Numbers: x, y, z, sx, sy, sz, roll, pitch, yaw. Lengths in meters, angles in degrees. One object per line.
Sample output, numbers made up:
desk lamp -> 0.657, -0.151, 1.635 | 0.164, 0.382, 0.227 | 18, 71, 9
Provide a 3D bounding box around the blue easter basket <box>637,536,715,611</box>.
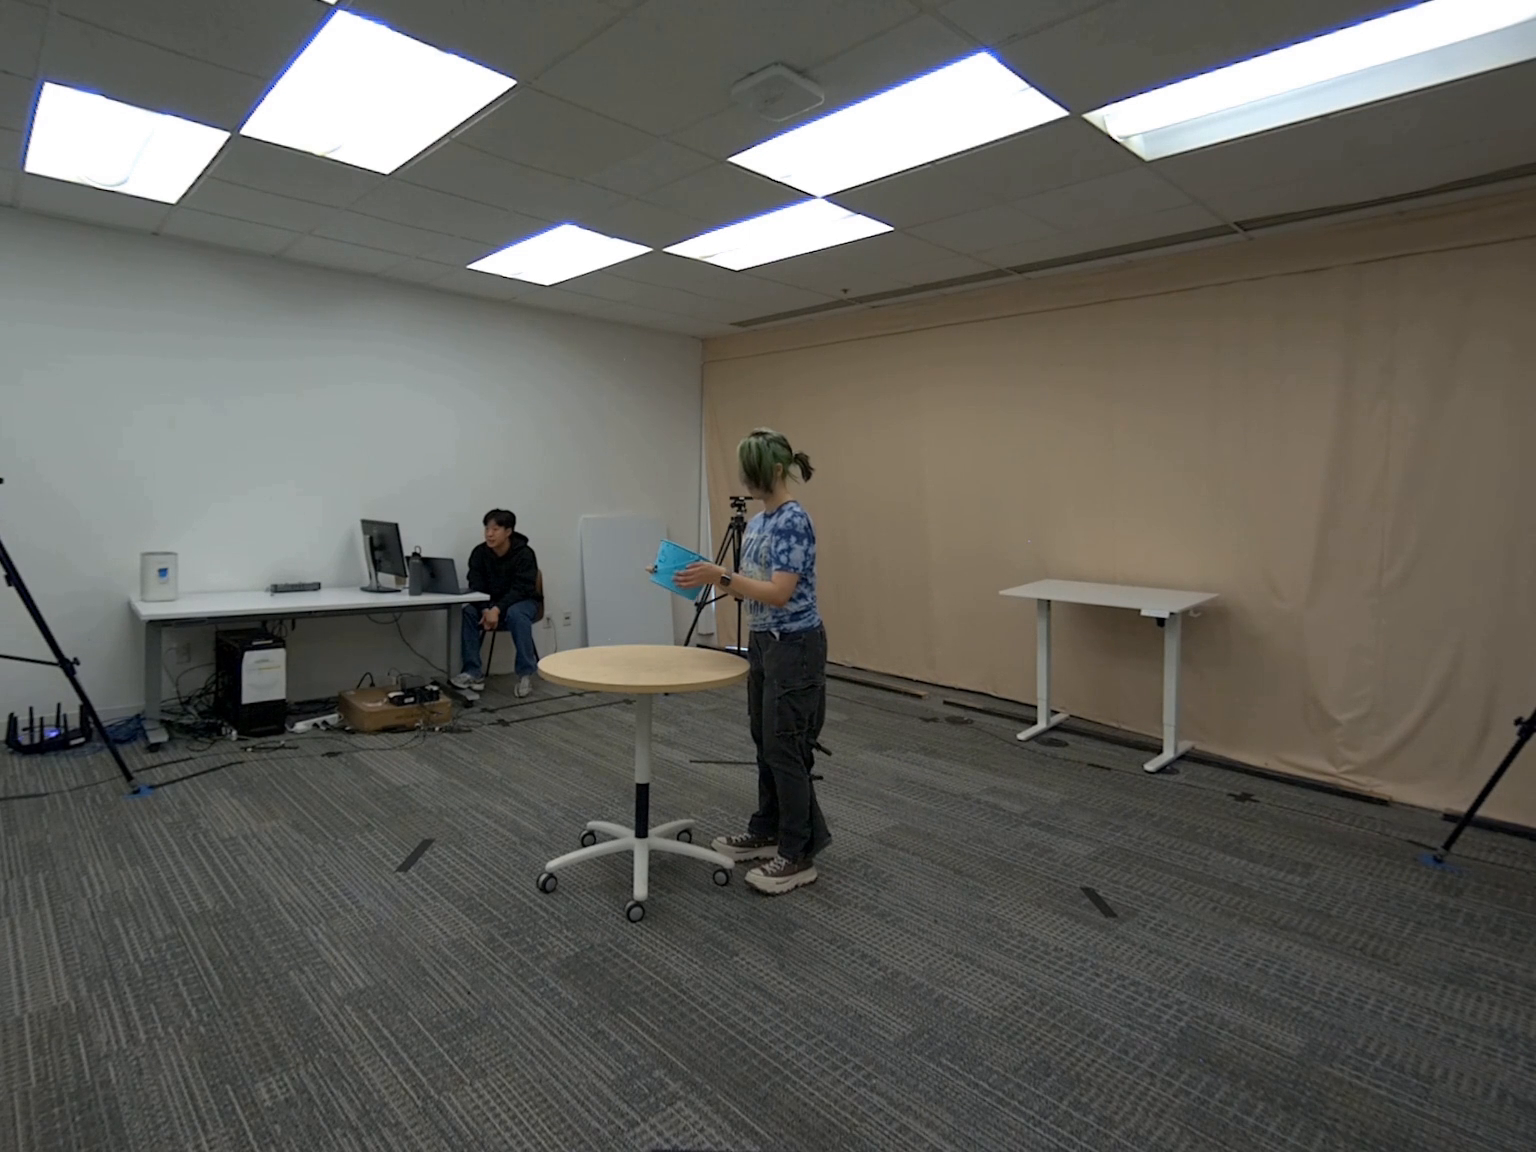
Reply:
blue easter basket -> -0.314, -0.007, 3.045 | 0.244, 0.156, 0.243 | 27, -5, 1
